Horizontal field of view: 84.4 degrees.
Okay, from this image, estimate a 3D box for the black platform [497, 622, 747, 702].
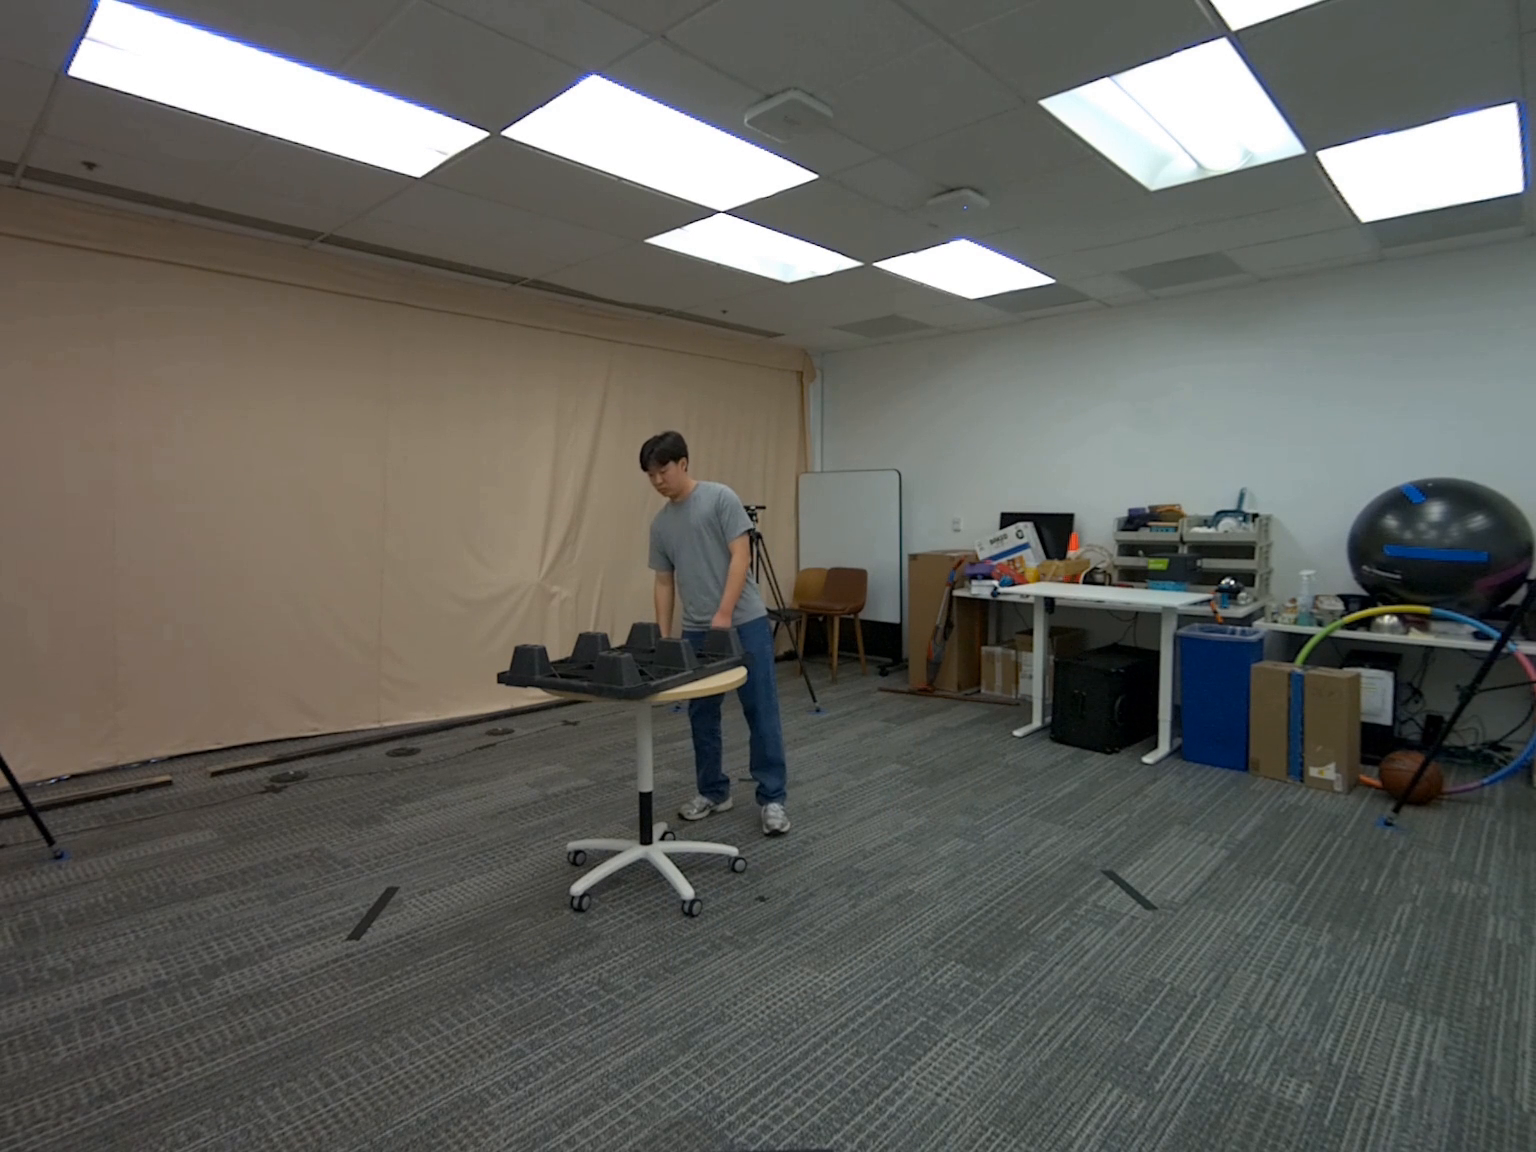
[{"bbox_3d":[-0.498,0.292,3.093,0.622,0.143,0.785,1,4,29],"label":"black platform"}]
